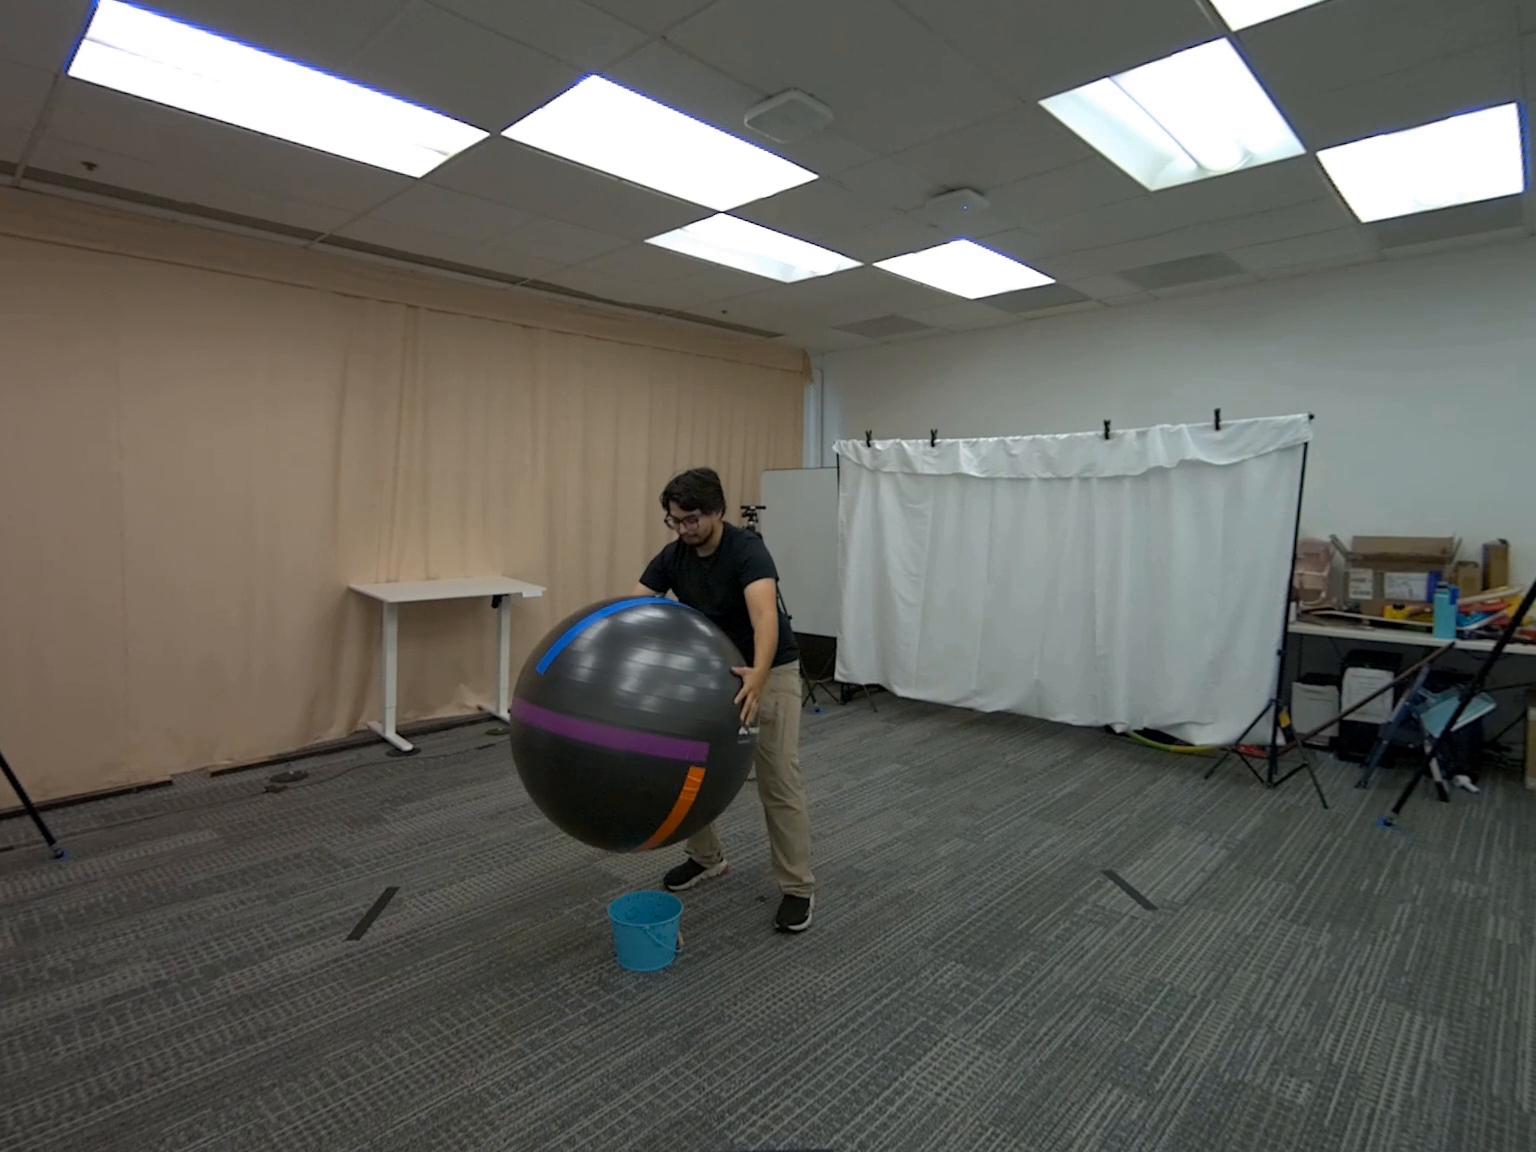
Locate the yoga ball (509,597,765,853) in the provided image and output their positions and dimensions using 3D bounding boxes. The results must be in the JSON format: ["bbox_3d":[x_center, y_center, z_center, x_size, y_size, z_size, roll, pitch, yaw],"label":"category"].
[{"bbox_3d":[-0.419,0.444,2.566,0.757,0.756,0.760,0,4,-2],"label":"yoga ball"}]
